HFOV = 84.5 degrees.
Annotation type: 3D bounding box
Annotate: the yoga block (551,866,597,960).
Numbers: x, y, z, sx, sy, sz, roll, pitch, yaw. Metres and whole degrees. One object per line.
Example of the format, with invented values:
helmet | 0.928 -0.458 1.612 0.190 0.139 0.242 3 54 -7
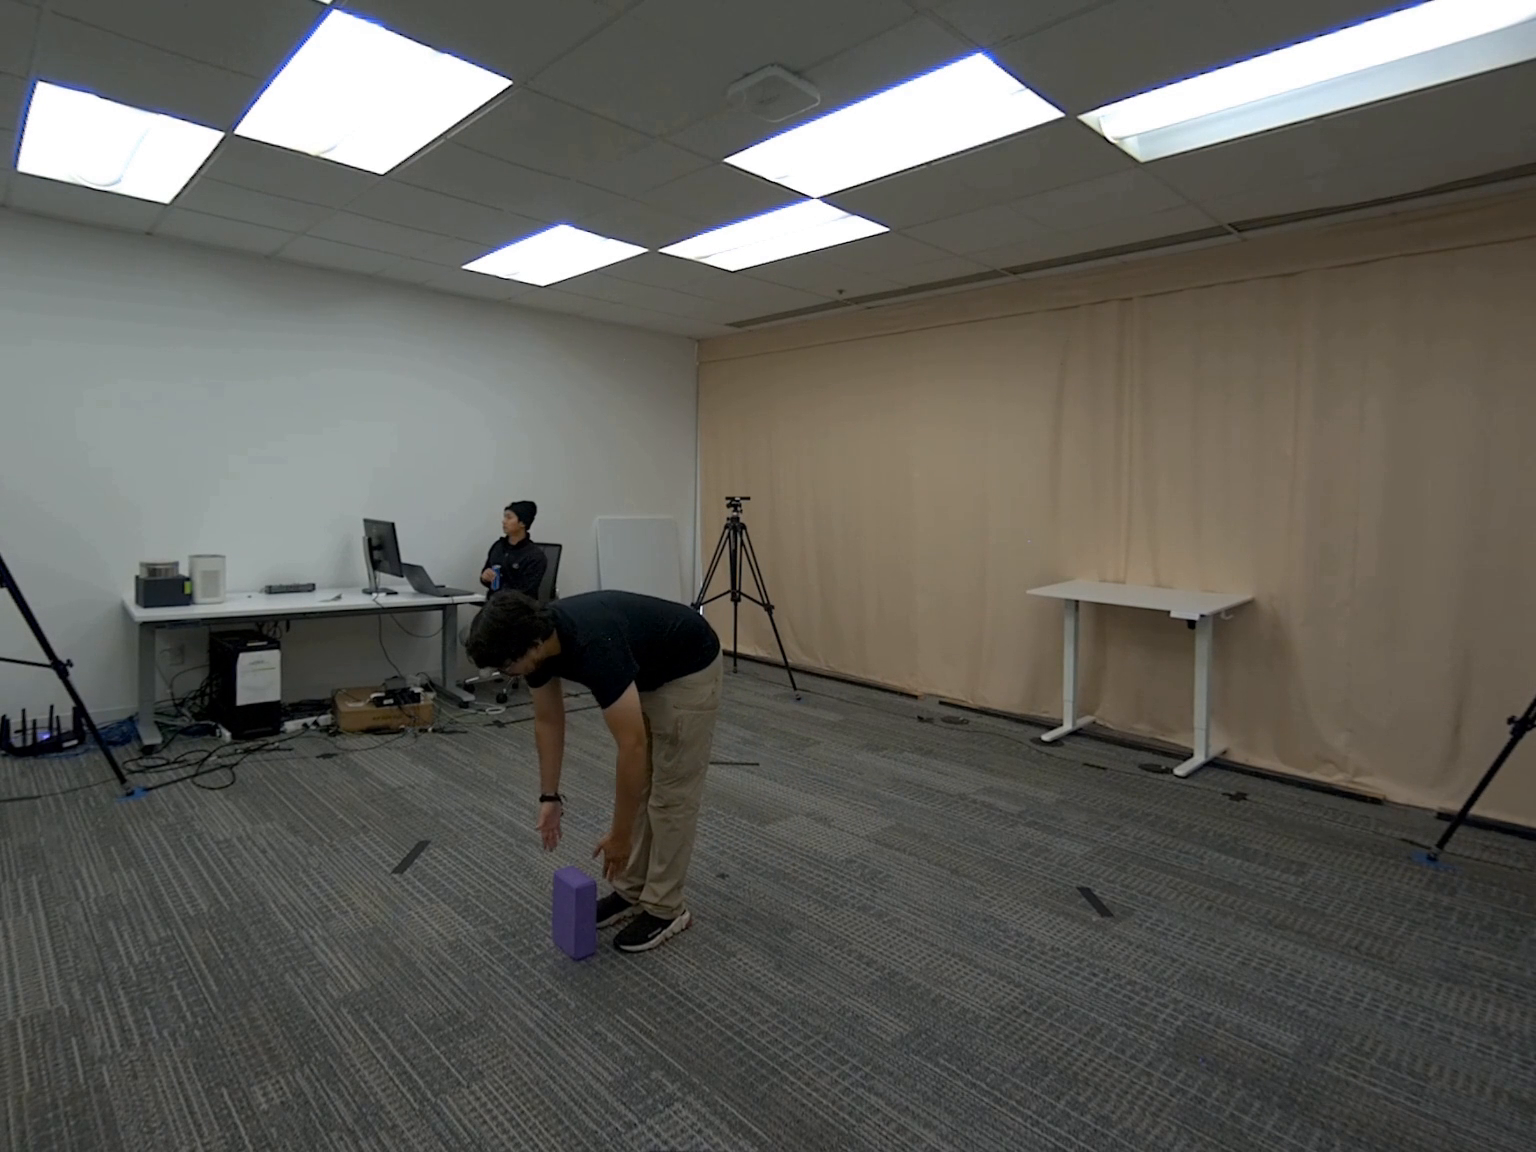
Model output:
yoga block | -0.598 1.025 2.575 0.074 0.229 0.153 2 4 -42
